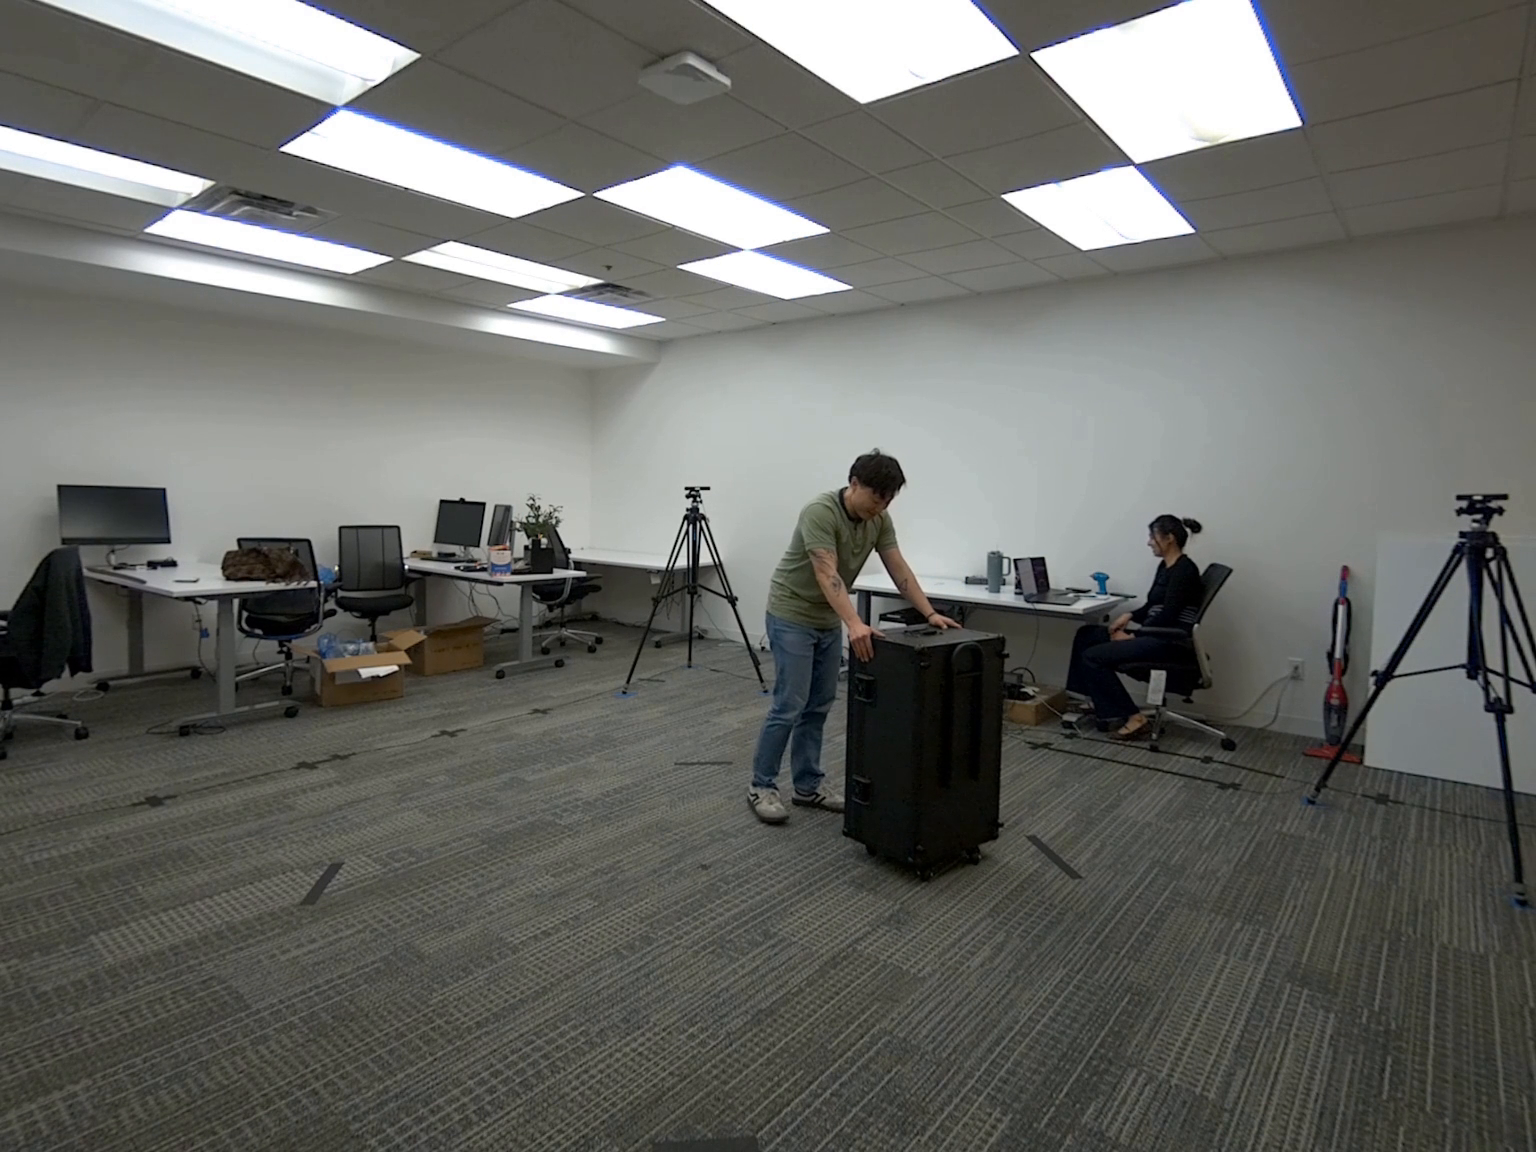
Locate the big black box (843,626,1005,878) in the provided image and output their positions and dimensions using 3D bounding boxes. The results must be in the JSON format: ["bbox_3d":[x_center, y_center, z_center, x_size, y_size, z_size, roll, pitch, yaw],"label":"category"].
[{"bbox_3d":[0.604,0.644,3.232,0.506,0.858,0.410,-1,5,-38],"label":"big black box"}]
